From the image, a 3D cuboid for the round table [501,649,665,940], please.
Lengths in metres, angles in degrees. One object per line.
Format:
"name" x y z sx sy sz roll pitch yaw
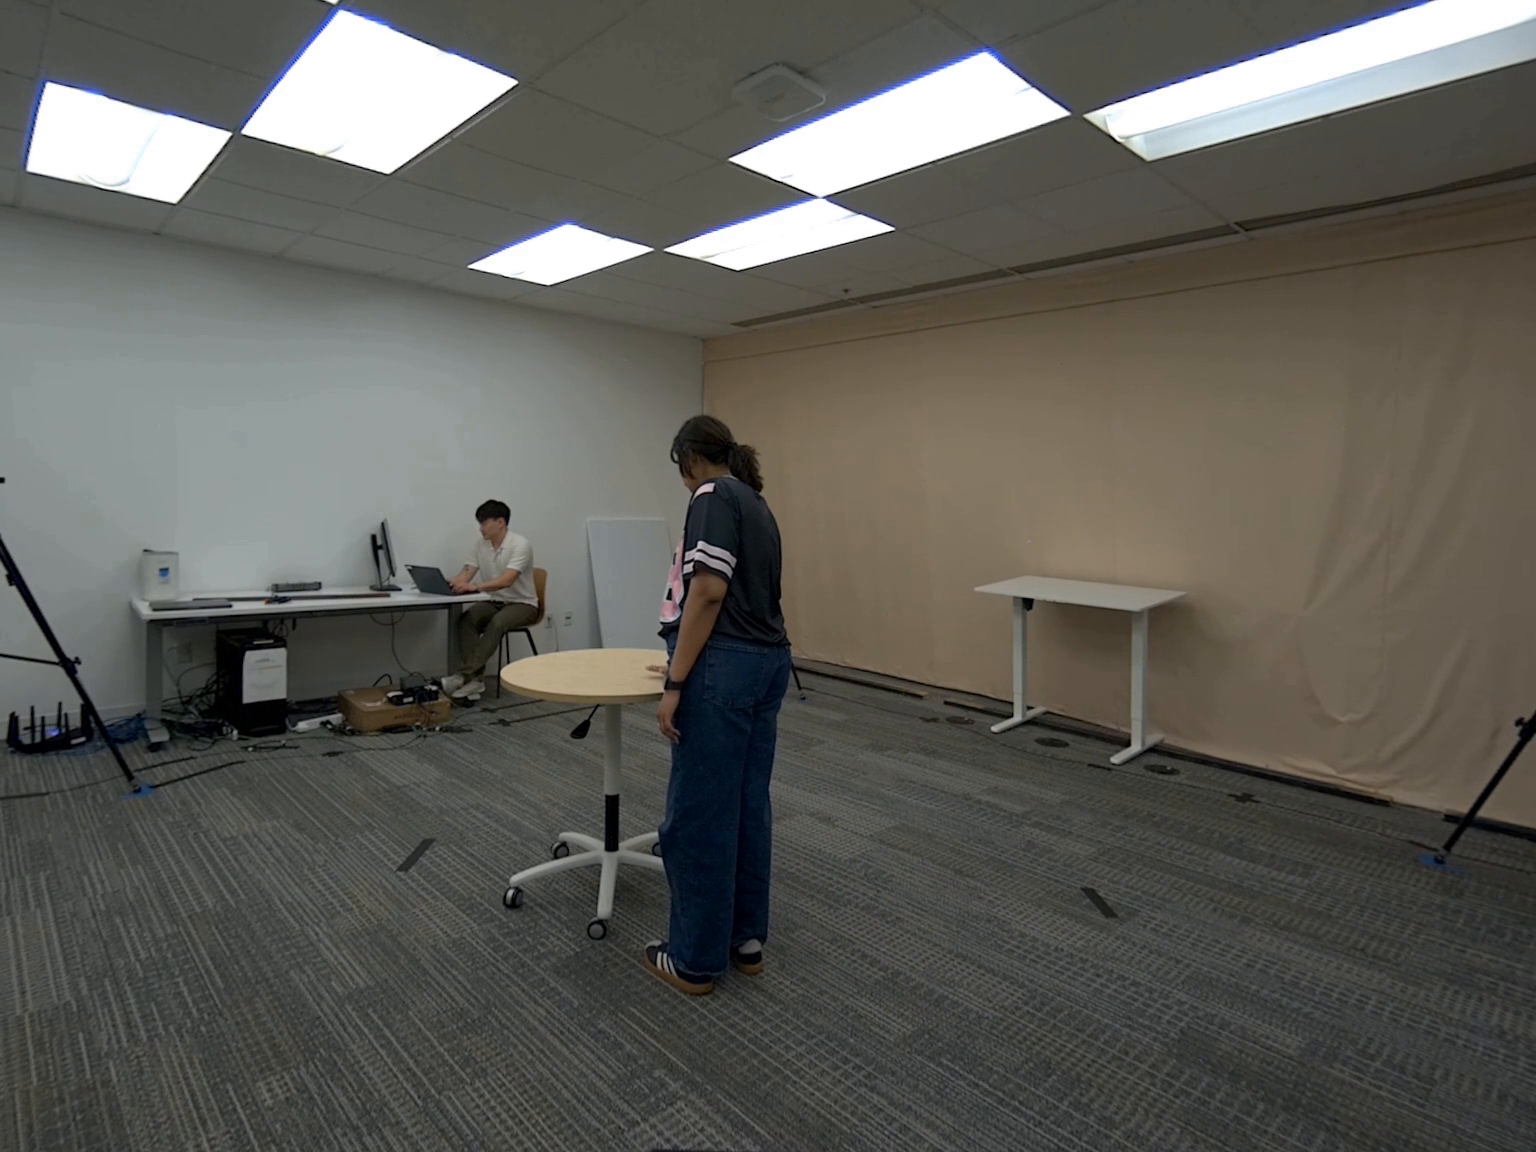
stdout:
"round table" -0.558 0.717 2.946 0.784 0.784 0.788 1 4 -1
